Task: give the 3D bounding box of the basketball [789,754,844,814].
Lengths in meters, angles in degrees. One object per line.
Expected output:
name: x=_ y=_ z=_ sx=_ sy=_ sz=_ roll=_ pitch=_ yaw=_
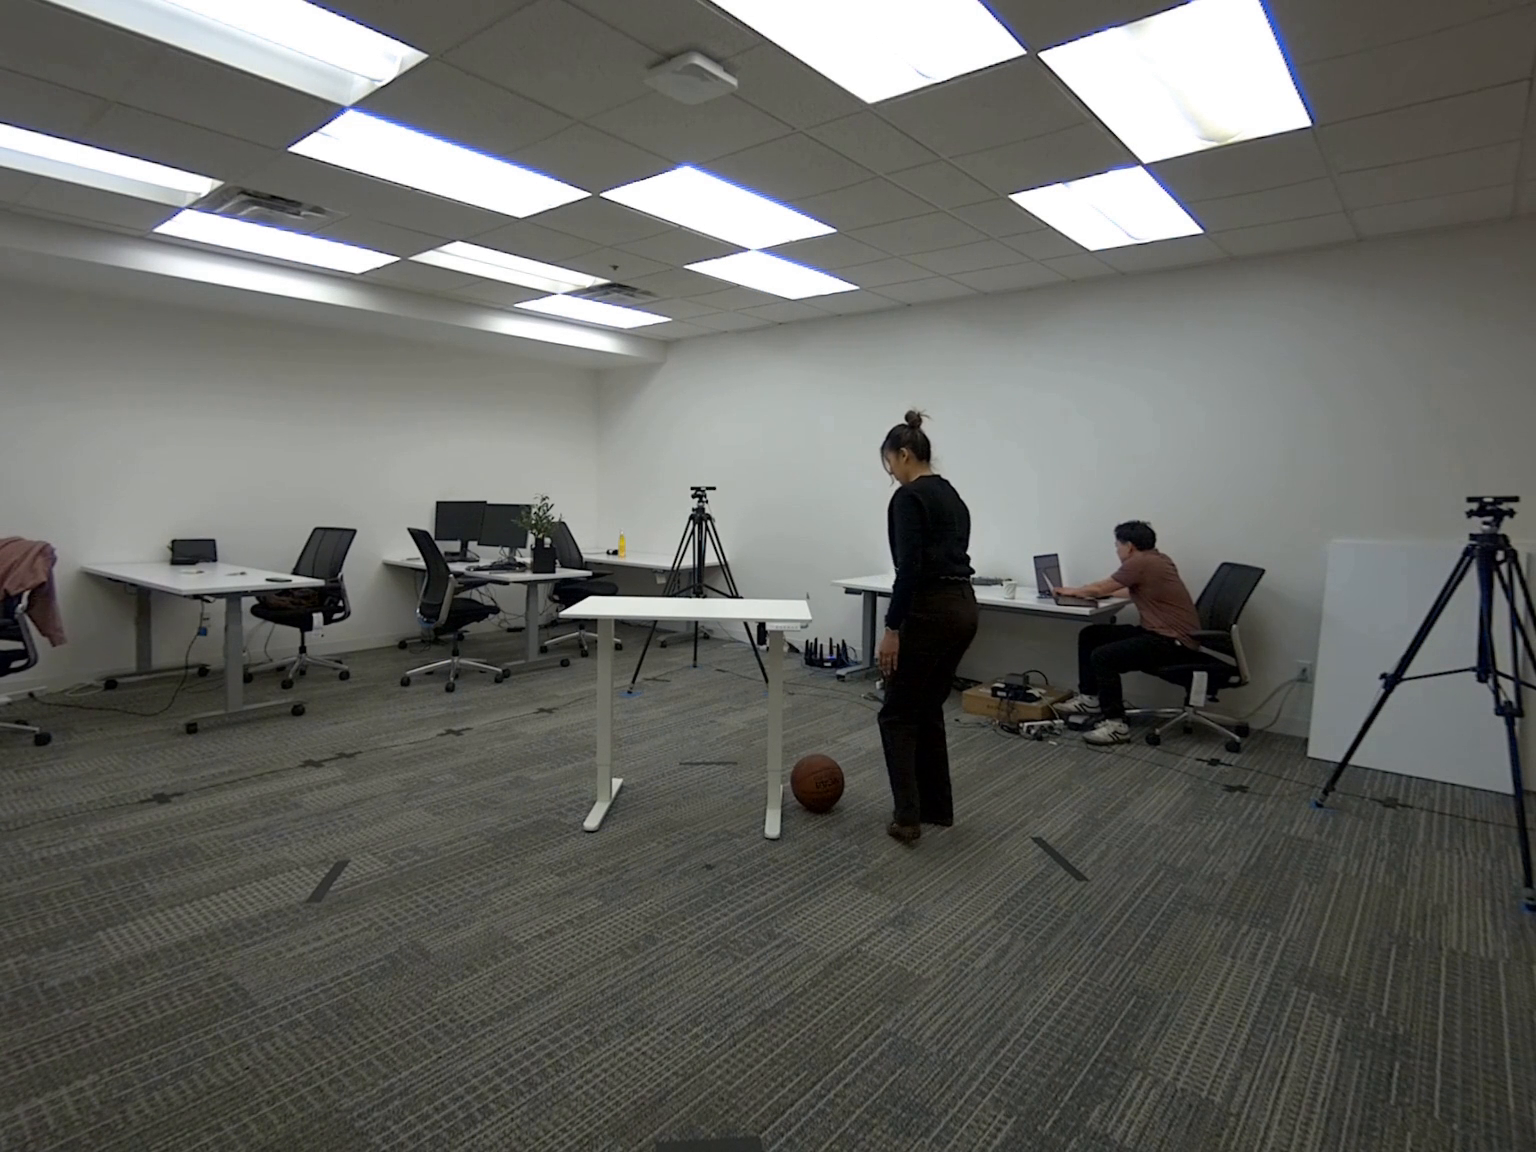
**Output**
basketball: x=0.207 y=0.893 z=3.716 sx=0.235 sy=0.235 sz=0.237 roll=1 pitch=4 yaw=-2
